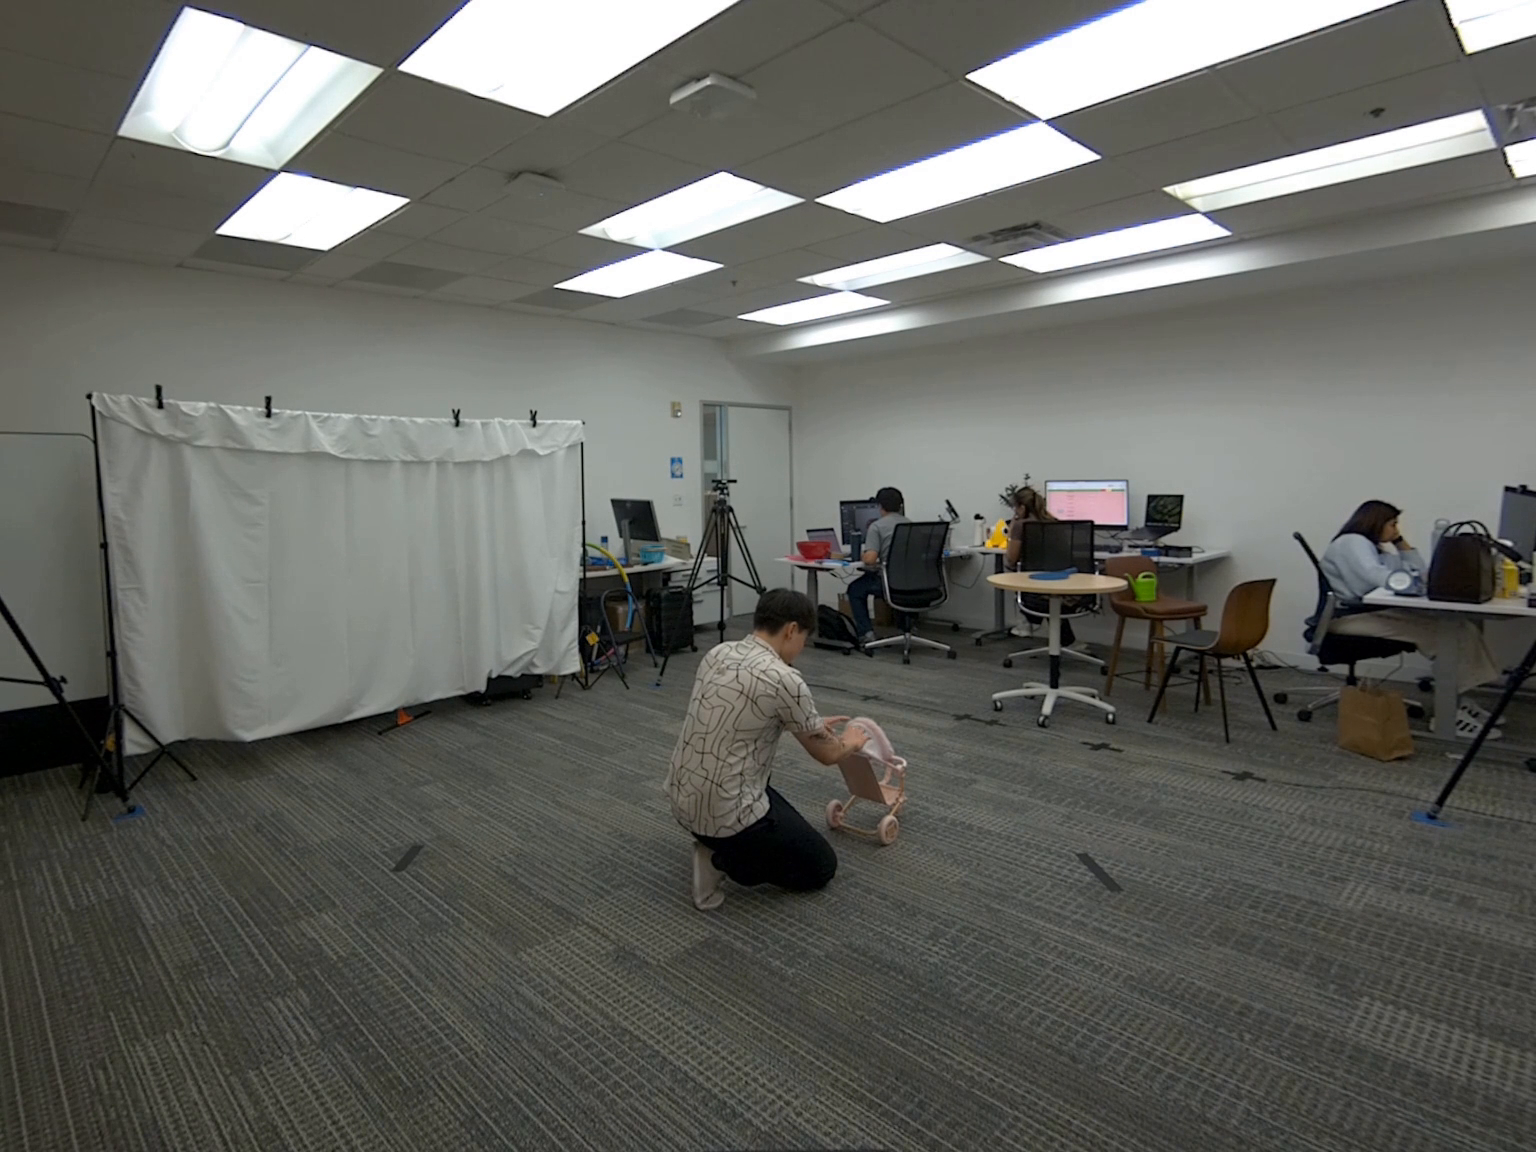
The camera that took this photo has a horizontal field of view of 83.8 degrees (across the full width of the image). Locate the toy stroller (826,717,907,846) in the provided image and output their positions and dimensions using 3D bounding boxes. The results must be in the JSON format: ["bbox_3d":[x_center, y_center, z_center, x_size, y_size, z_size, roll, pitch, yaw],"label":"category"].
[{"bbox_3d":[0.398,0.785,3.371,0.290,0.526,0.337,4,23,45],"label":"toy stroller"}]
